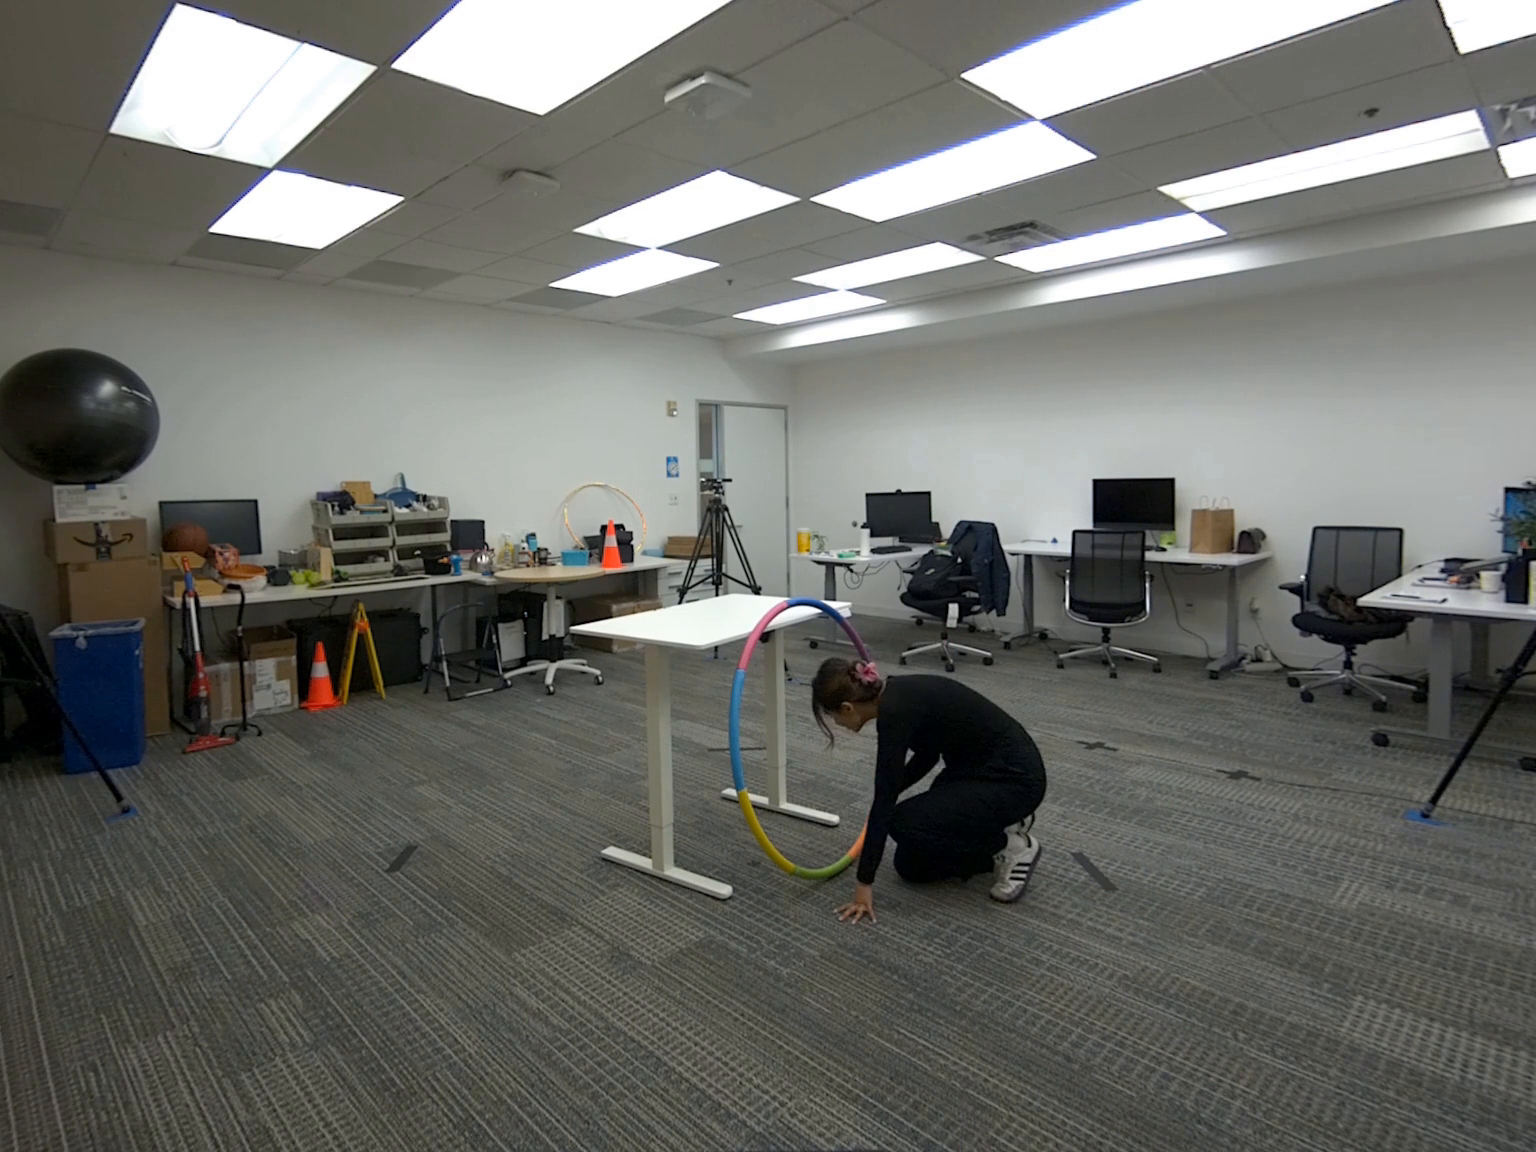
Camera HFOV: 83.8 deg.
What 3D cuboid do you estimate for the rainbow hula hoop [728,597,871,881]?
[{"bbox_3d":[0.179,0.559,3.065,0.036,0.983,0.955,-14,-4,36],"label":"rainbow hula hoop"}]
